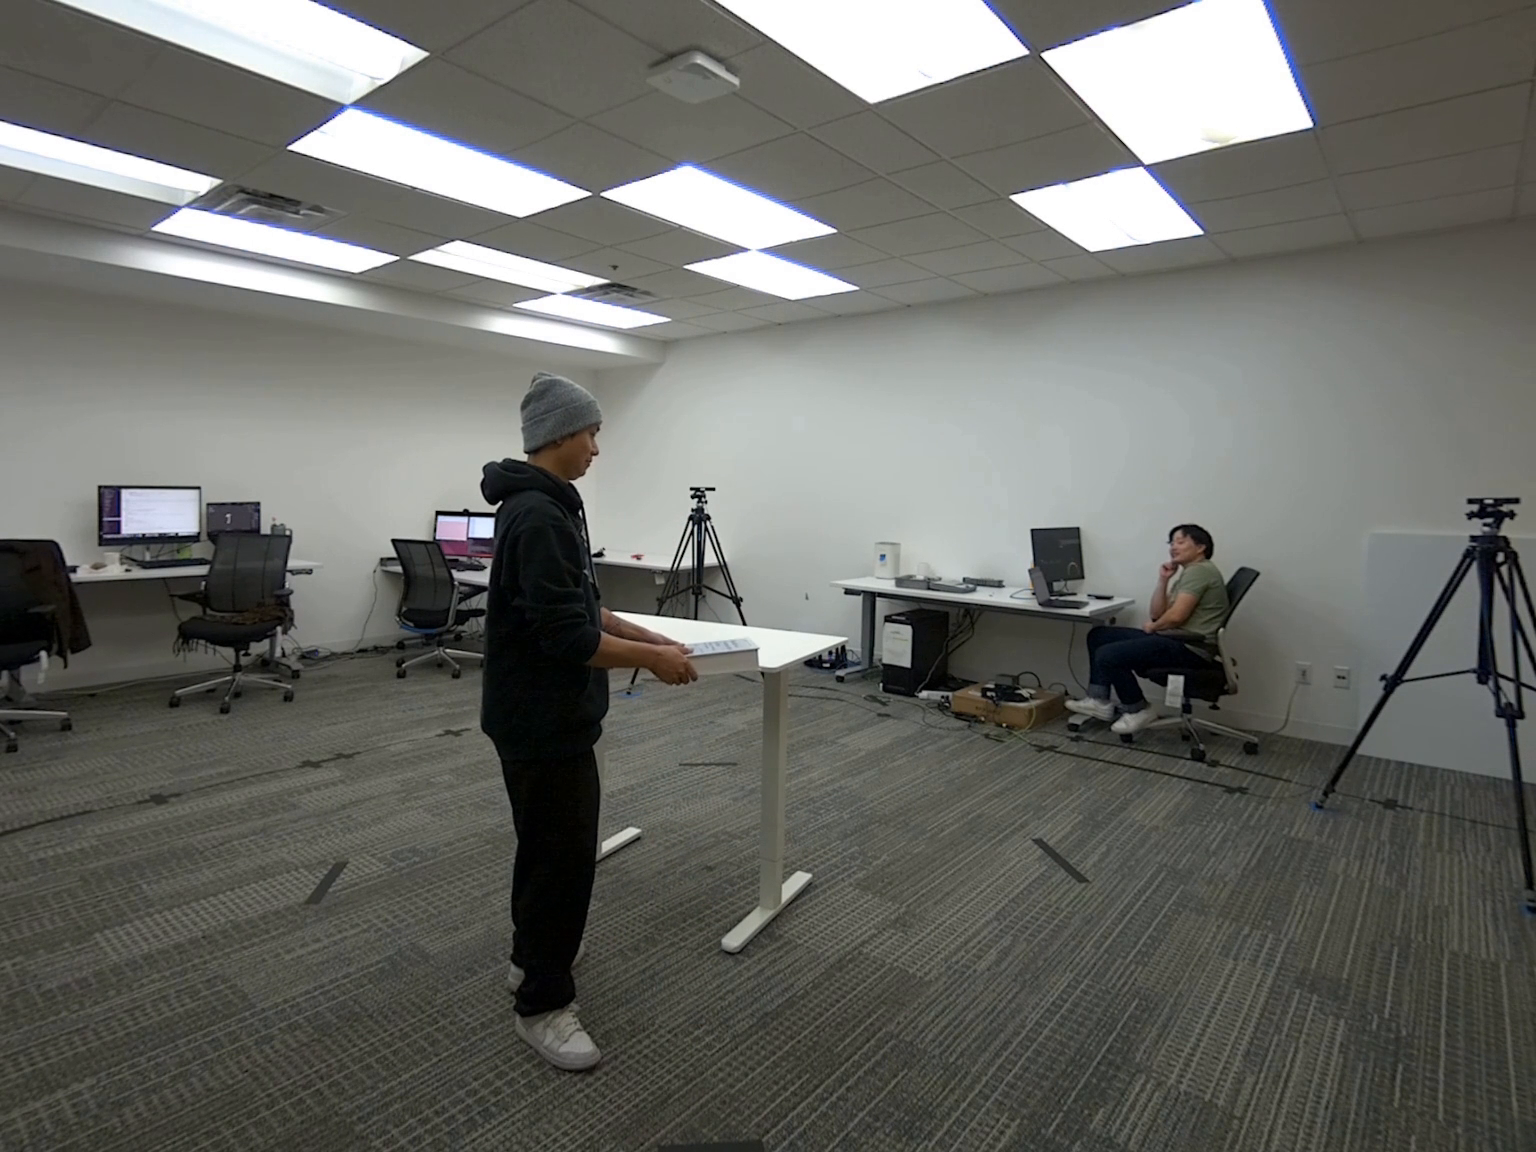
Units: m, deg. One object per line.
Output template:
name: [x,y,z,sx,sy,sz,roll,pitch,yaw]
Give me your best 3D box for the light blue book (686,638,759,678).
light blue book: [-0.177,0.221,2.203,0.259,0.059,0.193,-5,5,-7]
